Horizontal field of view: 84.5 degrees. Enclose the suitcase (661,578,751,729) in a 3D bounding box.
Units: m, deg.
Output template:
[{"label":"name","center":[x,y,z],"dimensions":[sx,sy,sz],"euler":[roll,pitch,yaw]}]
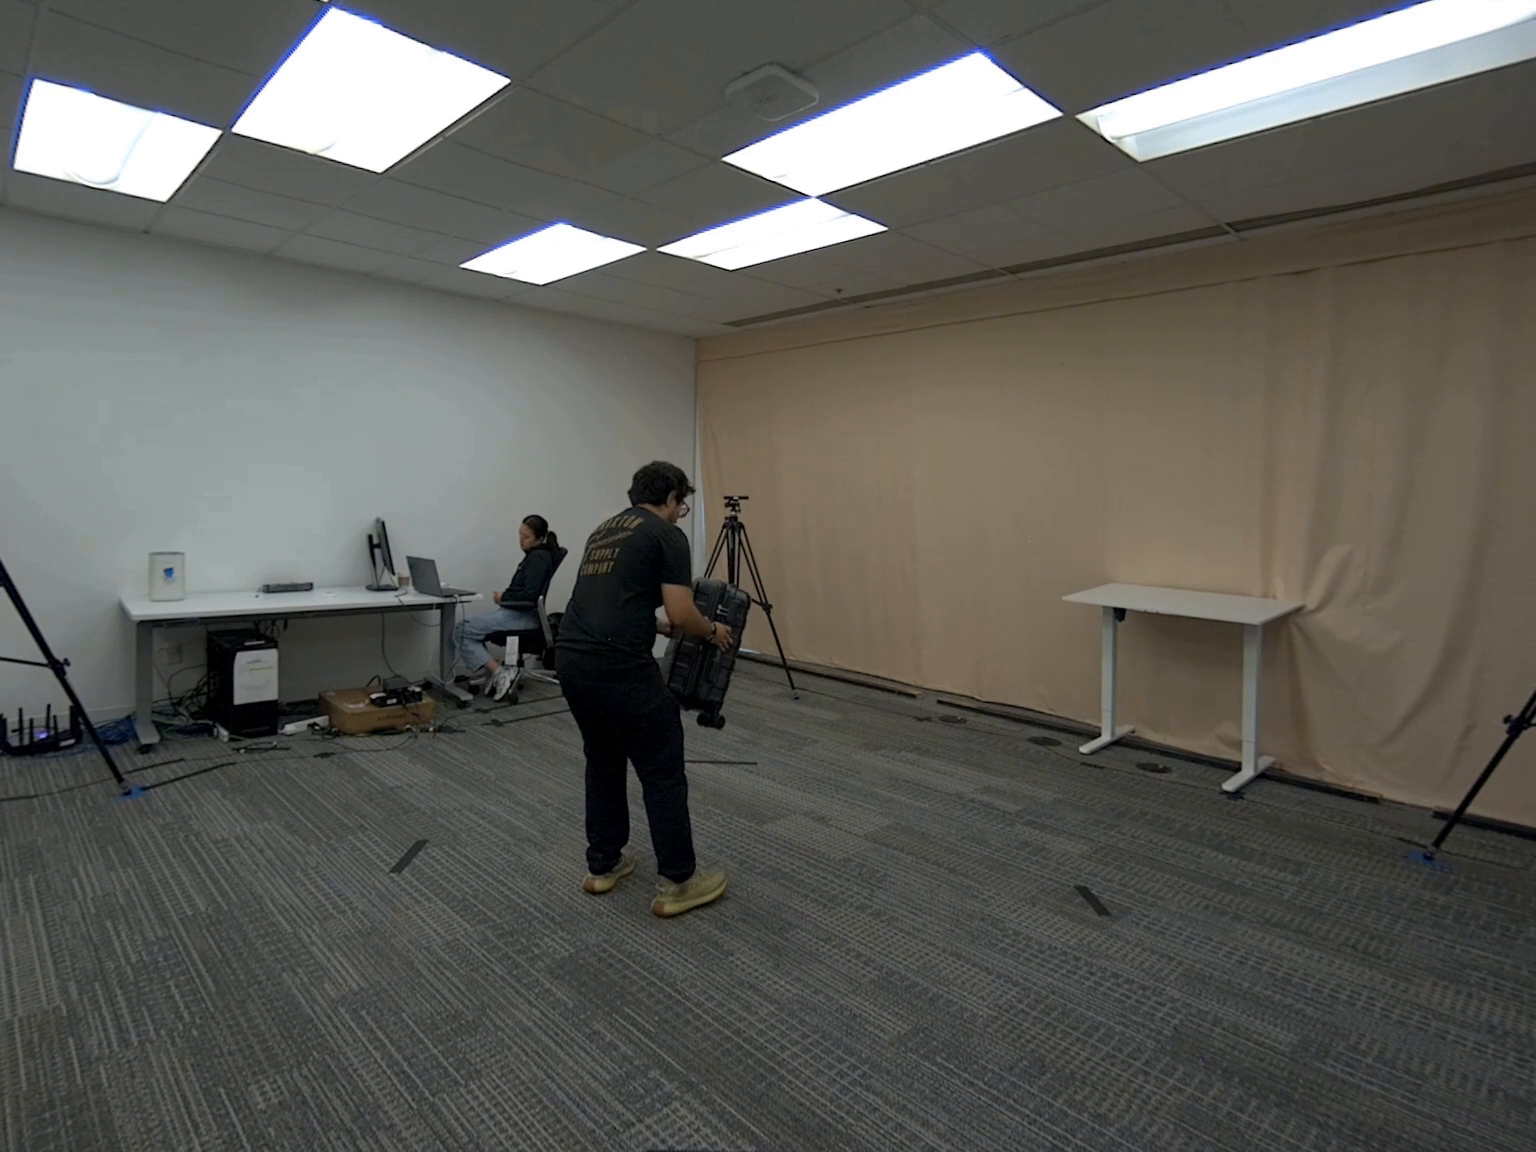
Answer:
[{"label":"suitcase","center":[-0.262,0.293,3.309],"dimensions":[0.246,0.552,0.376],"euler":[18,-12,-9]}]
